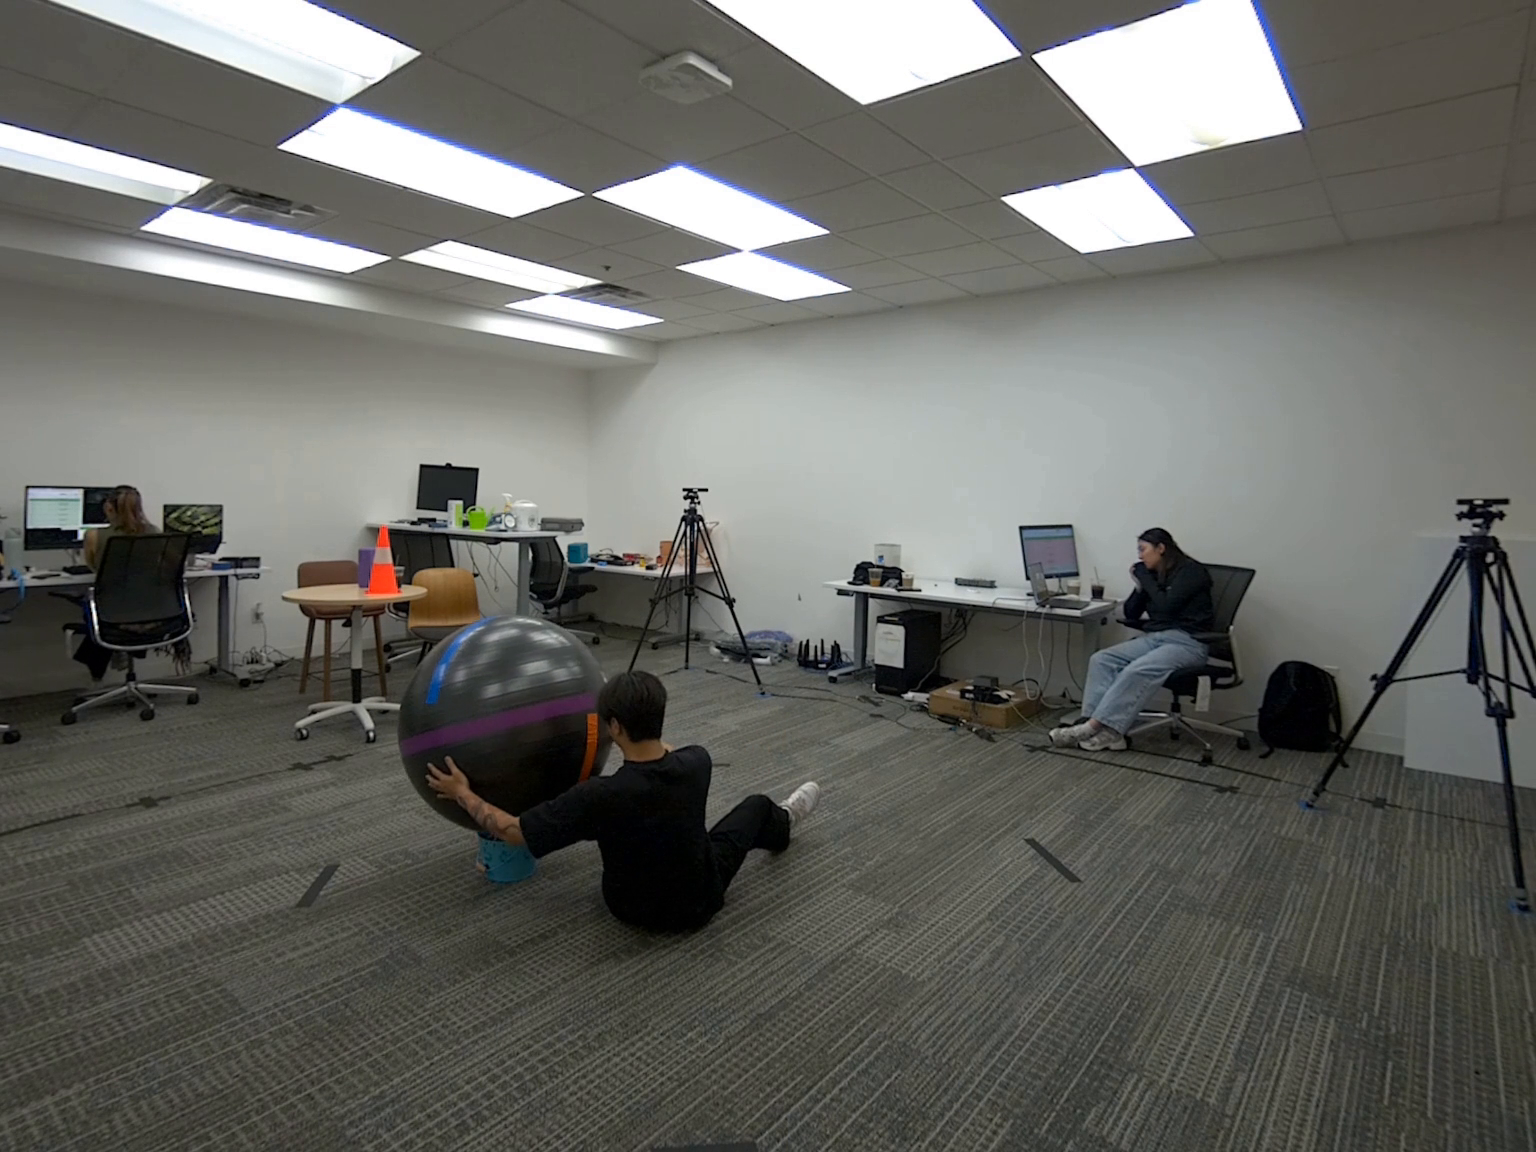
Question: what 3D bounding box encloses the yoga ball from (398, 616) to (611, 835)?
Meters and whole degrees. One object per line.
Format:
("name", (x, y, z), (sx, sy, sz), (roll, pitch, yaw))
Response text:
("yoga ball", (-0.944, 0.533, 3.063), (0.757, 0.755, 0.762), (1, 4, -2))
